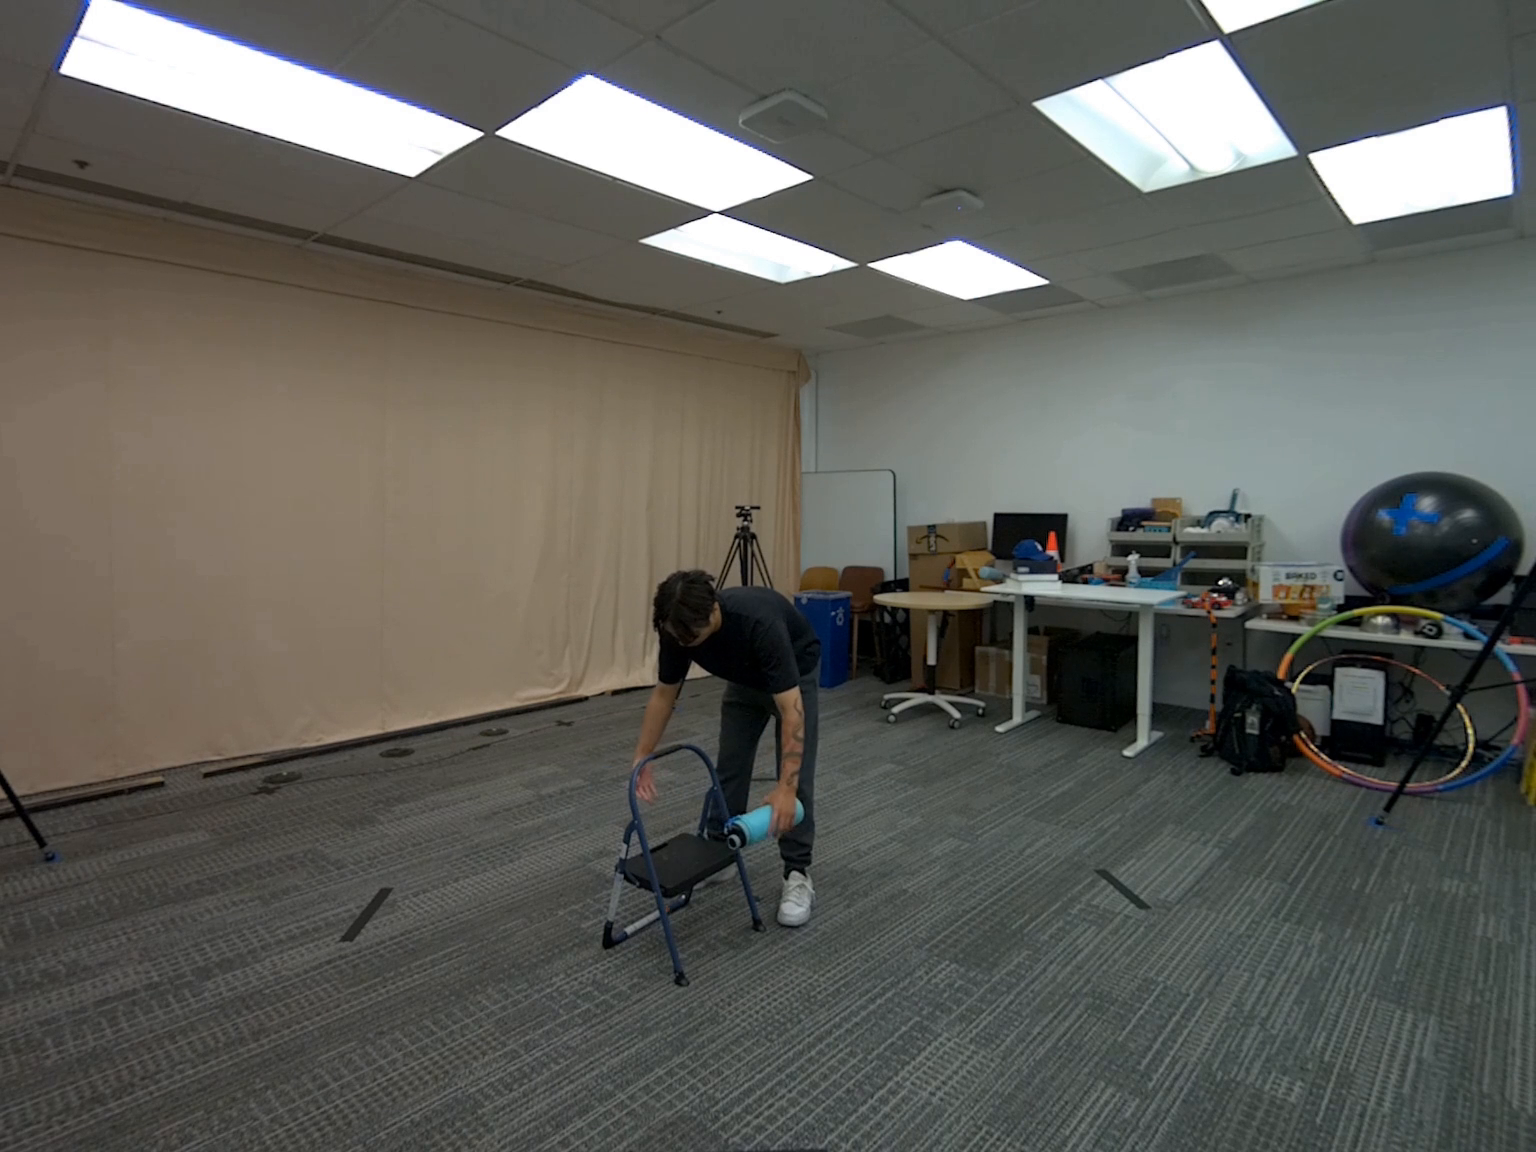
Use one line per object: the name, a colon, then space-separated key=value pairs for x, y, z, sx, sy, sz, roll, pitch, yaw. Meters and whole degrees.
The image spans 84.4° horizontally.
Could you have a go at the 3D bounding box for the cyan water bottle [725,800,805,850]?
cyan water bottle: x=-0.019 y=0.741 z=2.562 sx=0.275 sy=0.092 sz=0.095 roll=-9 pitch=9 yaw=-44
